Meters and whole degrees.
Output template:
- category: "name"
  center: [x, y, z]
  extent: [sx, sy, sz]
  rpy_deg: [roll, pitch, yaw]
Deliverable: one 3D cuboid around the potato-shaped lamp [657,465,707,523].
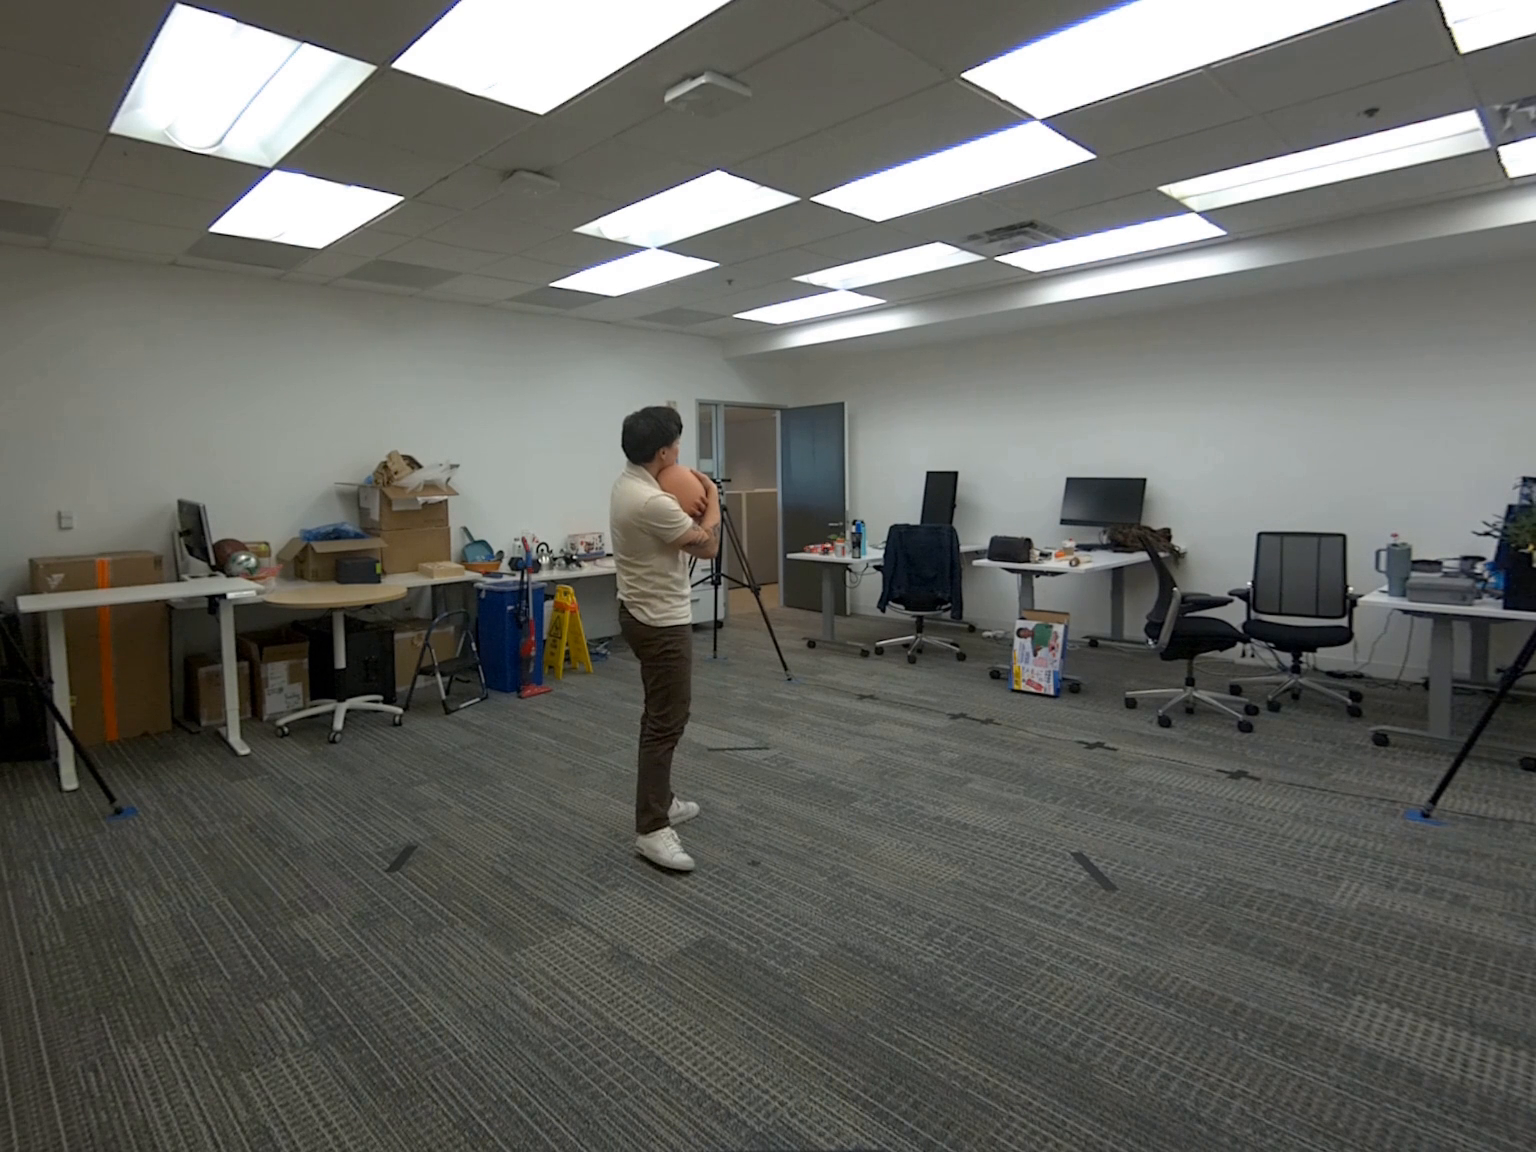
- category: "potato-shaped lamp"
  center: [-0.345, -0.322, 3.246]
  extent: [0.192, 0.173, 0.168]
  rpy_deg: [40, -33, -25]
